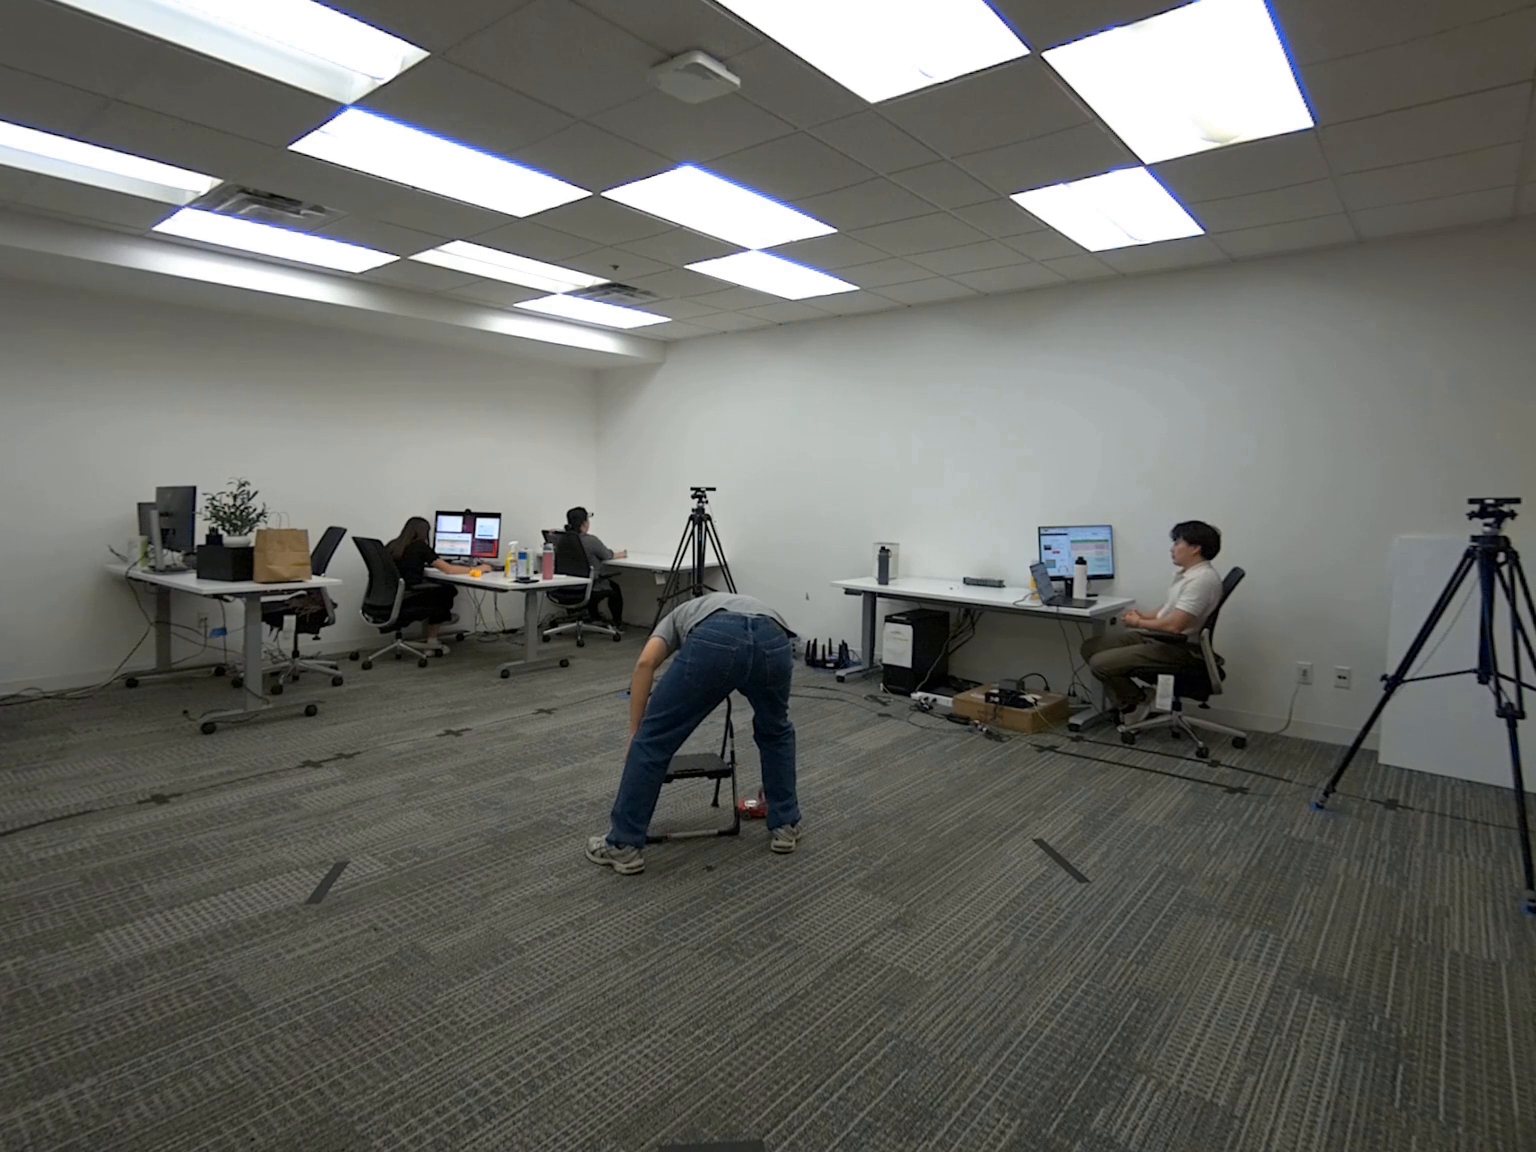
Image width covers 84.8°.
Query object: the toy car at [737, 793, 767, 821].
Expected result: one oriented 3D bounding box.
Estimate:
[{"bbox_3d":[-0.017,0.995,3.628,0.255,0.083,0.131,-9,5,1],"label":"toy car"}]
